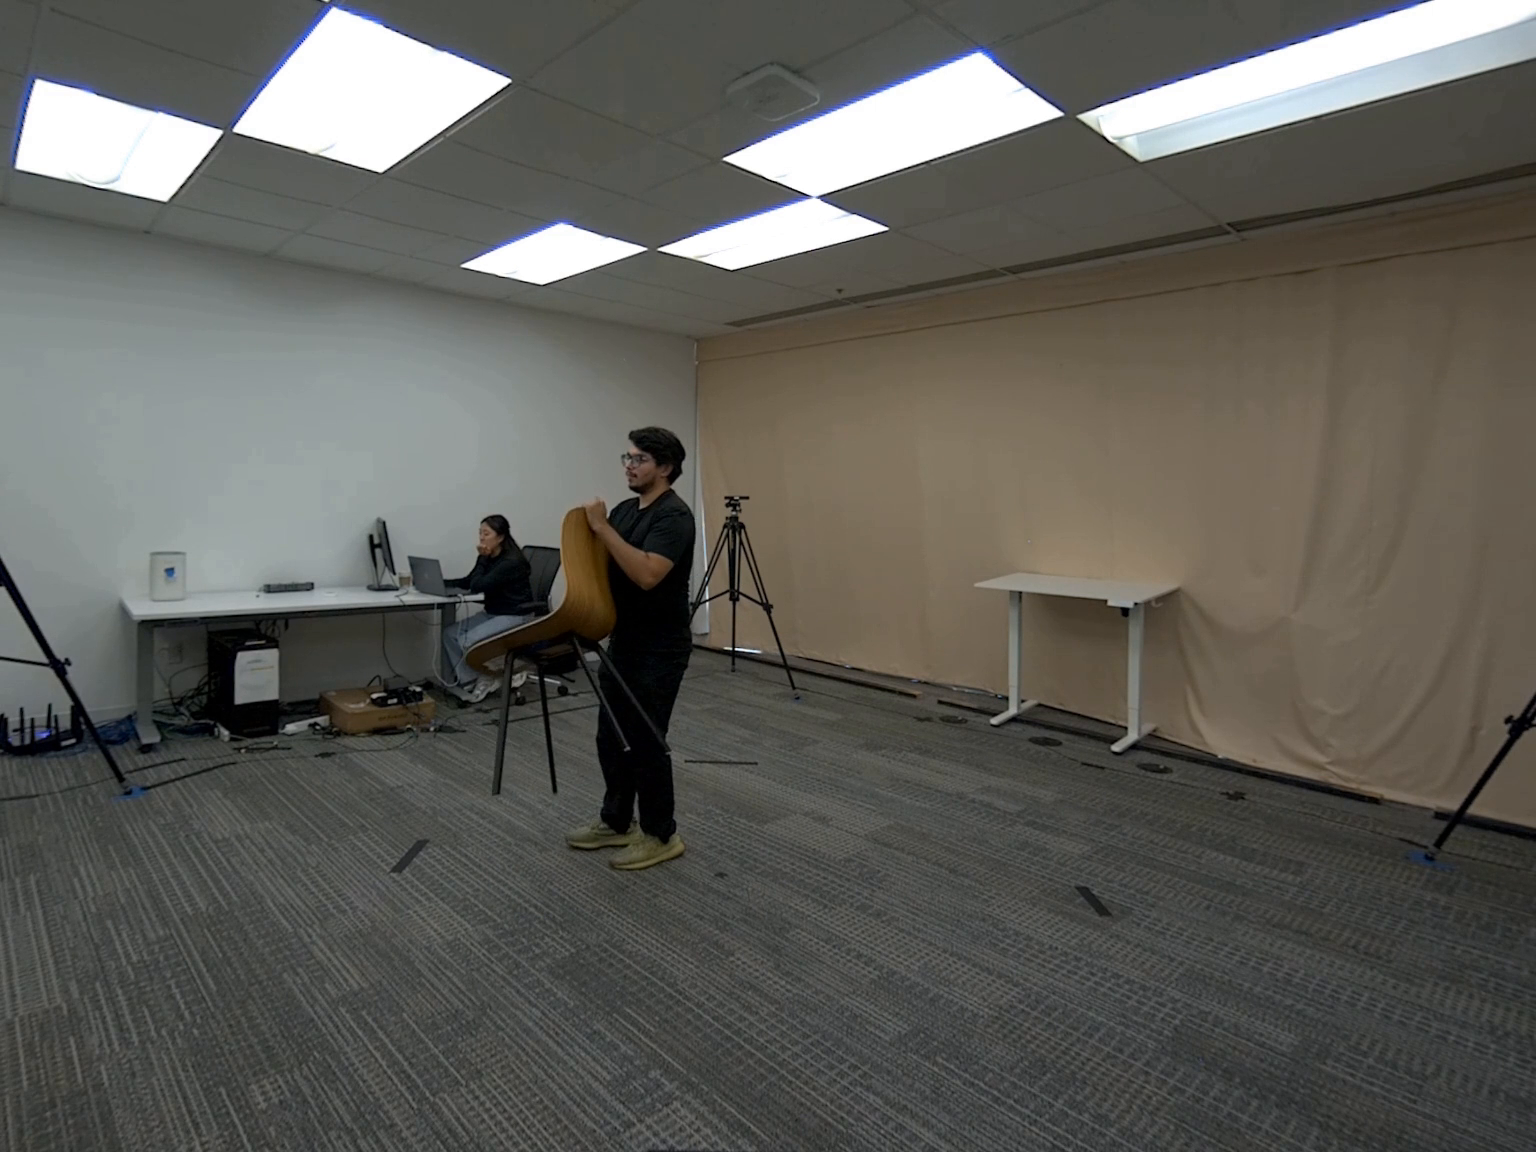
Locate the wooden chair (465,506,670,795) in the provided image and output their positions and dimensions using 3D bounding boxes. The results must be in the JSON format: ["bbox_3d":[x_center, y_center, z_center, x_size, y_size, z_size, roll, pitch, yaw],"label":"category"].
[{"bbox_3d":[-0.743,0.269,2.864,0.525,0.891,0.469,-18,-17,7],"label":"wooden chair"}]
